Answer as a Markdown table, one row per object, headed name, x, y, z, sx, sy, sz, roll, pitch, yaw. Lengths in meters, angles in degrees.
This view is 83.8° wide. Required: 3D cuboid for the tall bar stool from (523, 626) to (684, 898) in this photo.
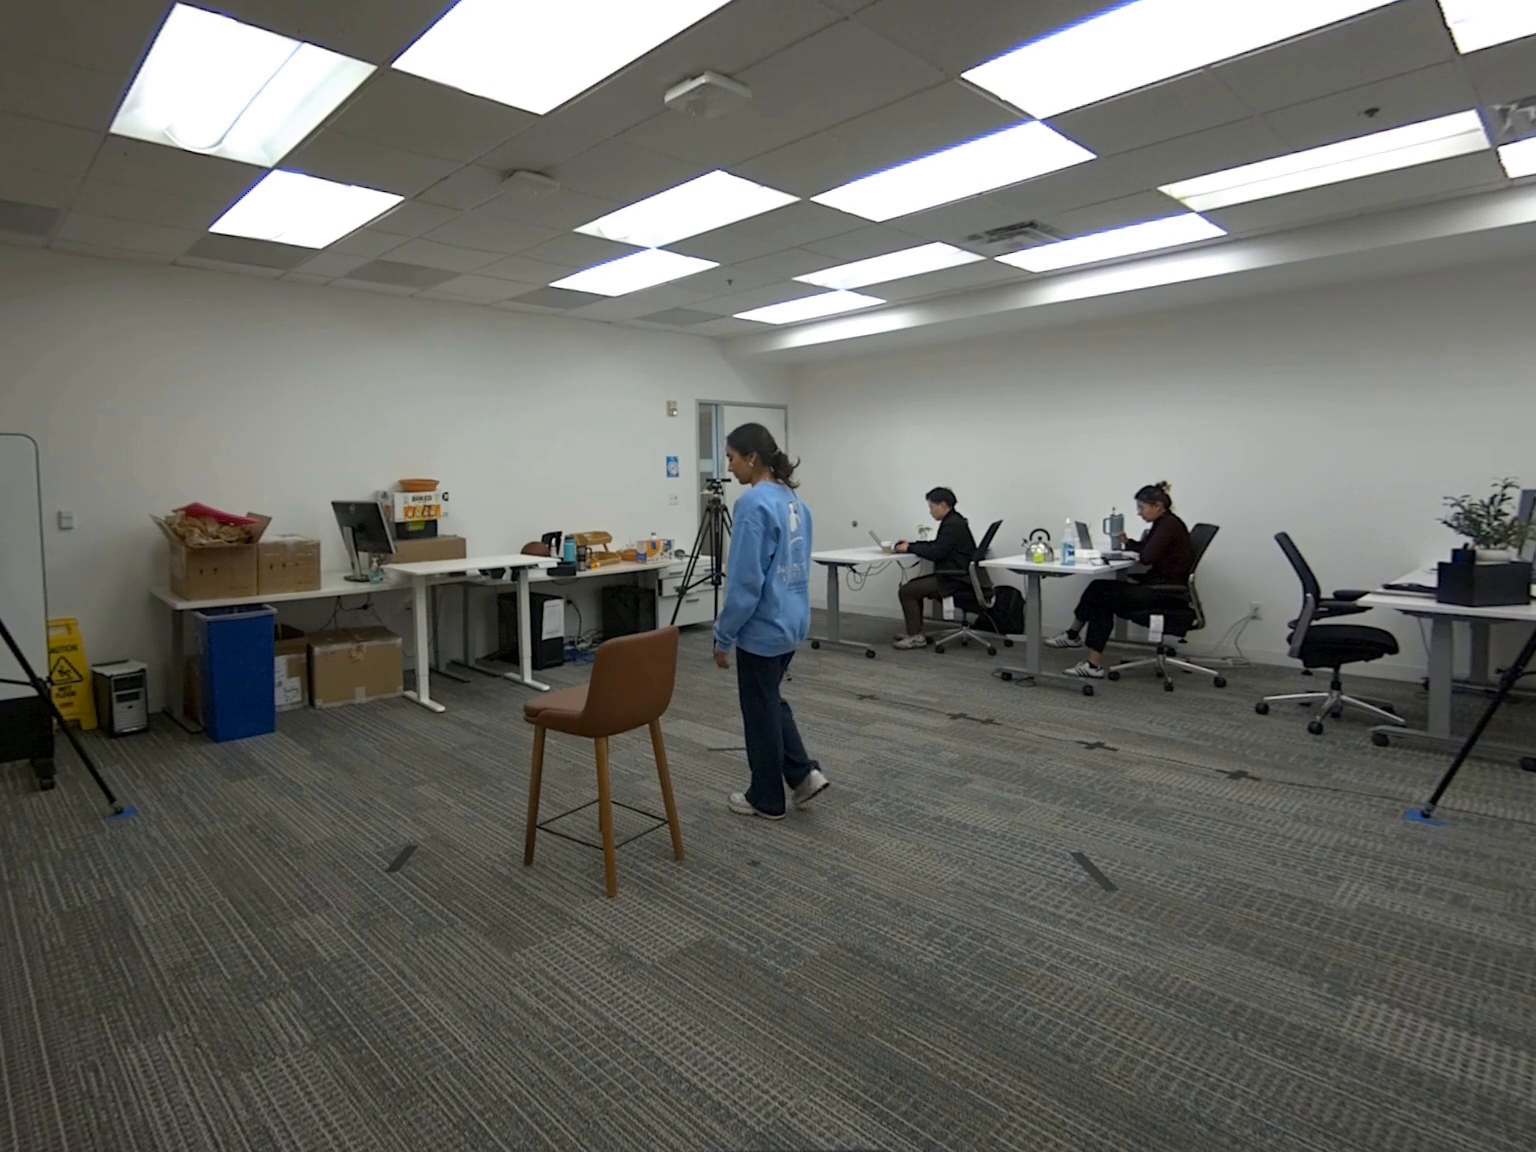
| name | x | y | z | sx | sy | sz | roll | pitch | yaw |
| --- | --- | --- | --- | --- | --- | --- | --- | --- | --- |
| tall bar stool | -0.605 | 0.618 | 3.120 | 0.482 | 0.886 | 0.445 | 4 | 6 | 37 |
